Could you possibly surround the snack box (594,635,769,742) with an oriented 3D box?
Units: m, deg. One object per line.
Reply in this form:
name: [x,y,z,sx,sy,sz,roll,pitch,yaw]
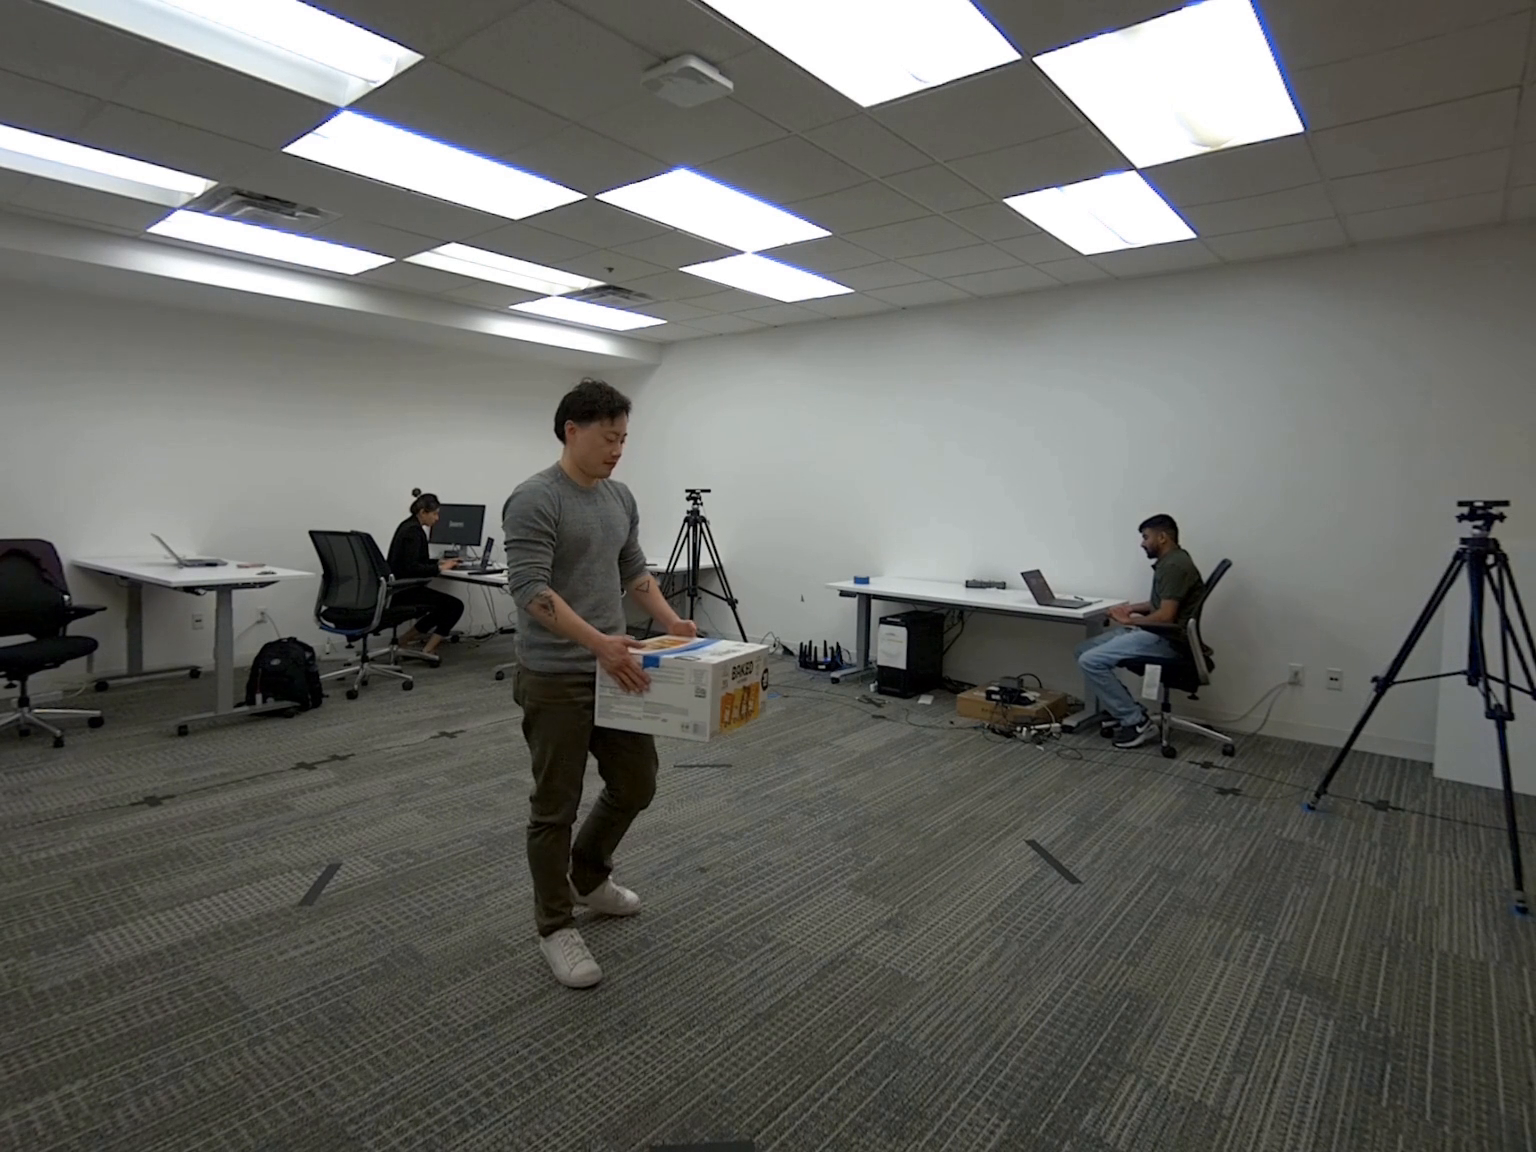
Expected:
snack box: [-0.233,0.297,2.361,0.349,0.205,0.396,3,3,23]
